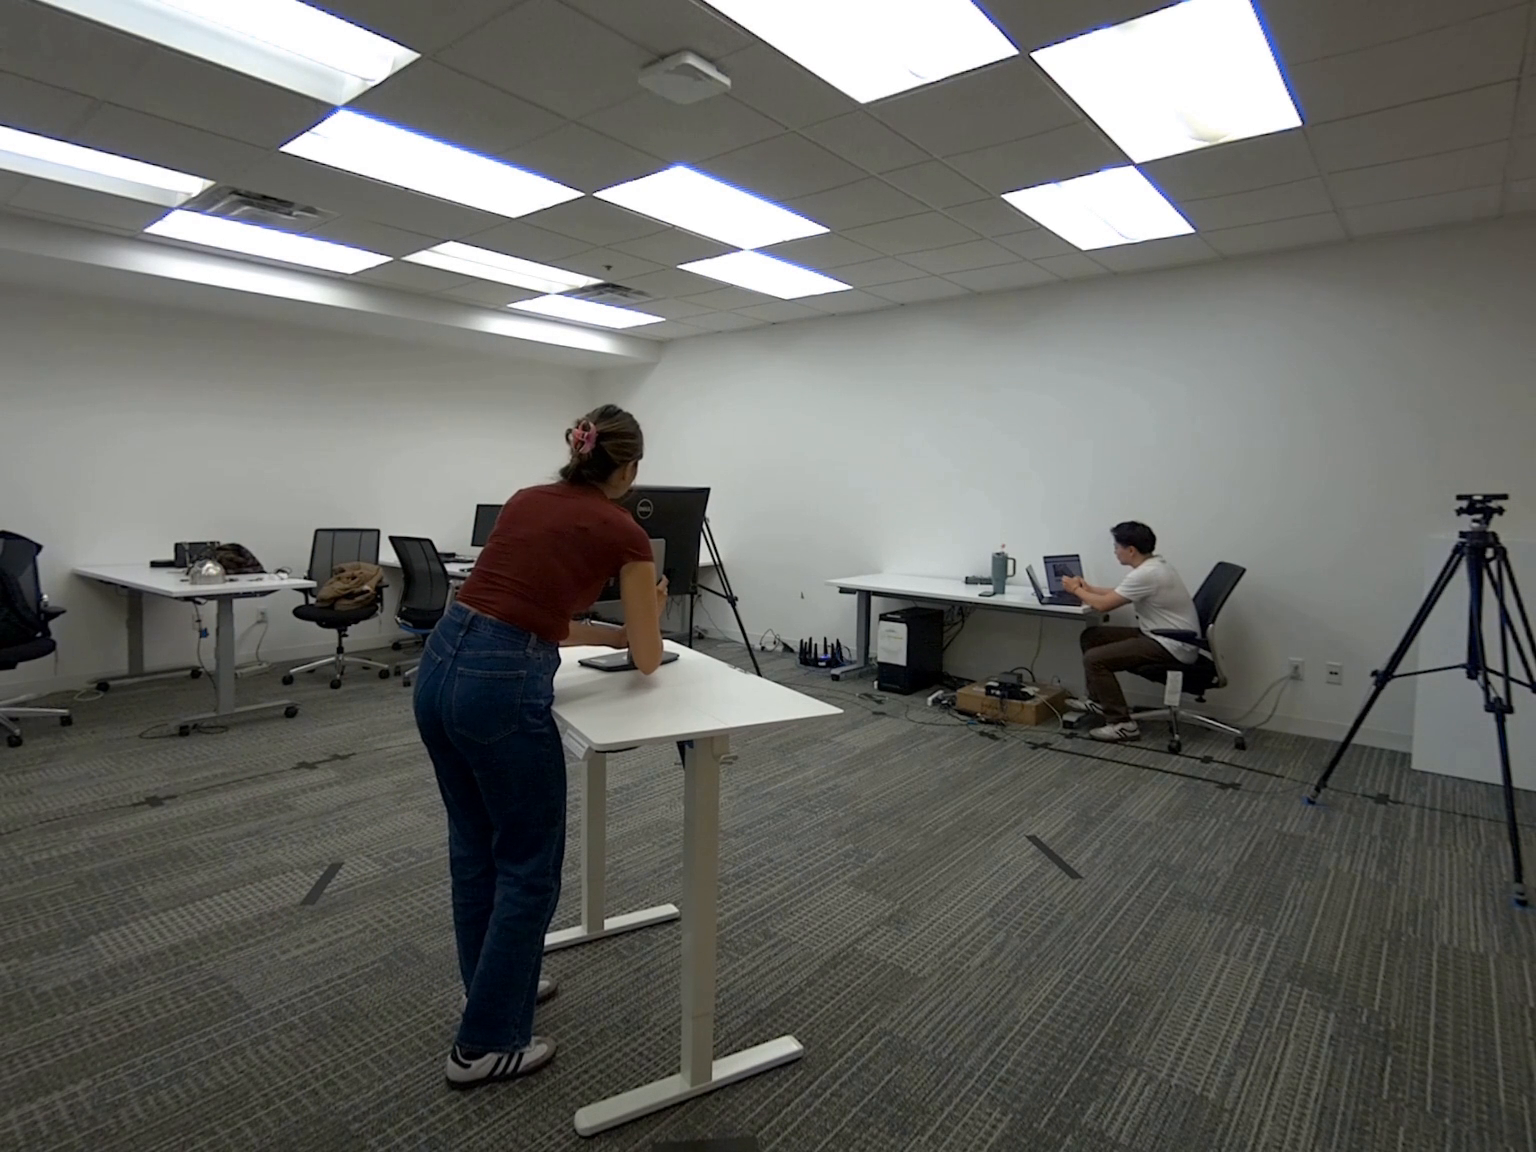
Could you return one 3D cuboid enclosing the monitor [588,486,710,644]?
[{"bbox_3d":[-0.392,-0.002,2.447,0.194,0.520,0.523,7,7,42],"label":"monitor"}]
